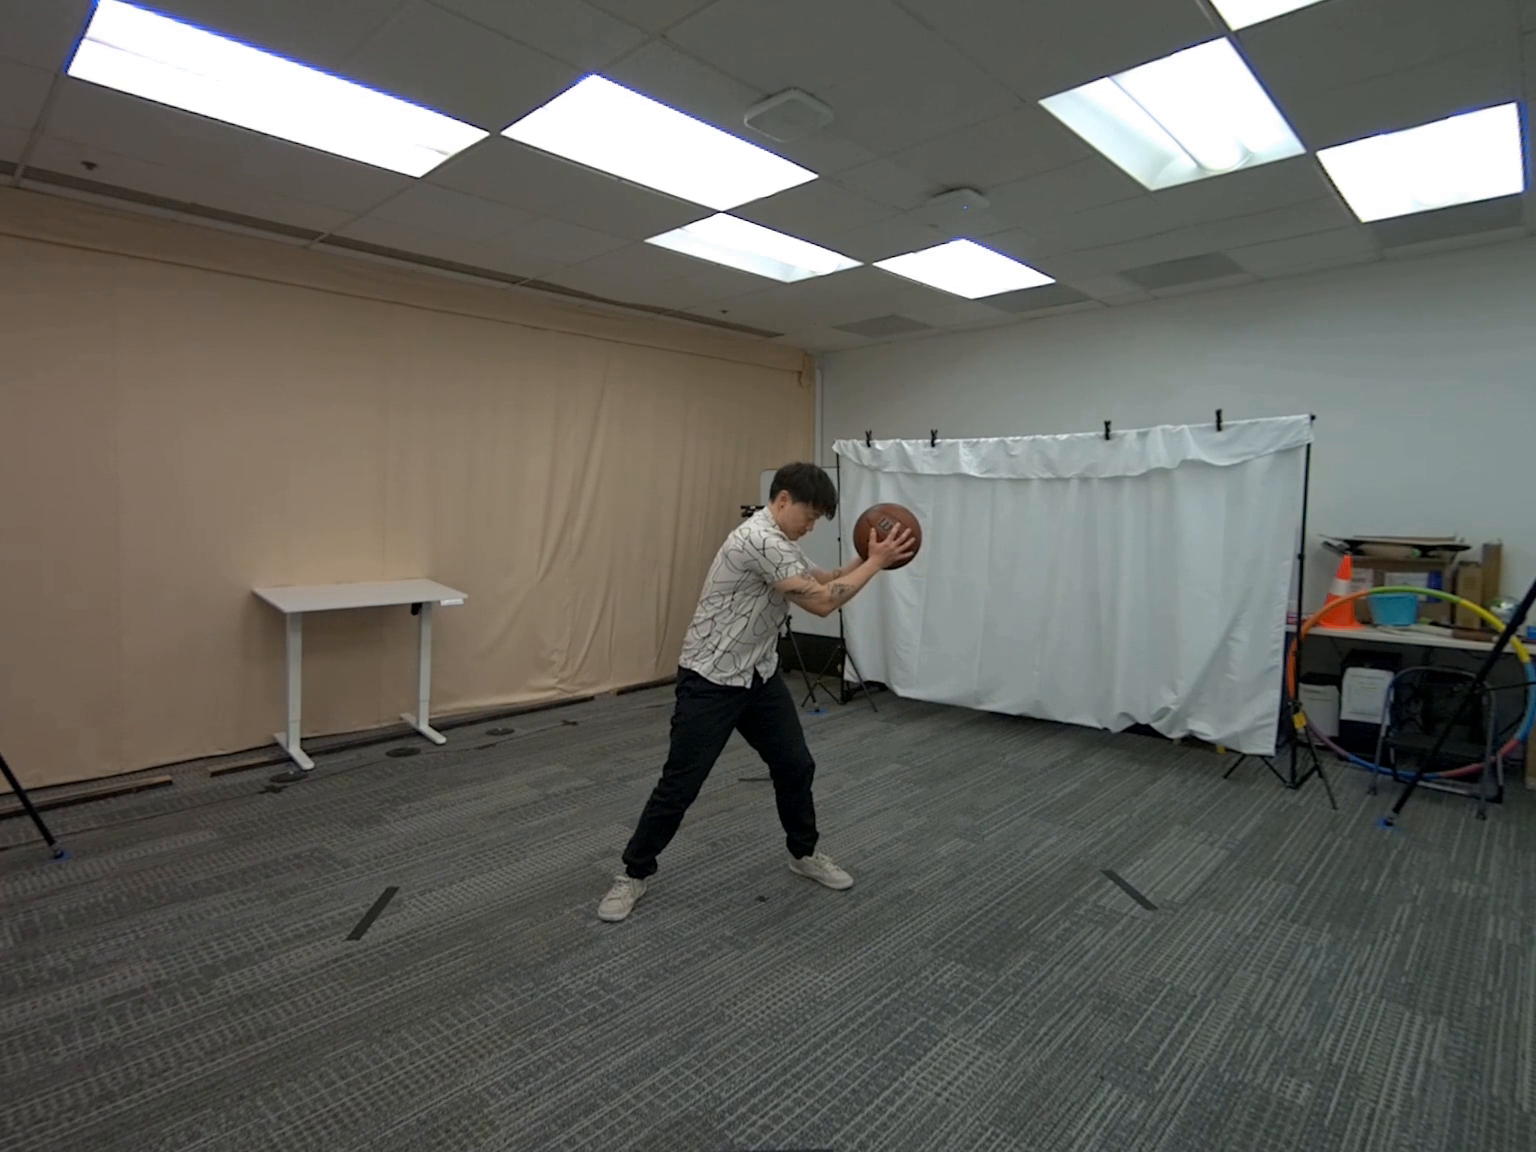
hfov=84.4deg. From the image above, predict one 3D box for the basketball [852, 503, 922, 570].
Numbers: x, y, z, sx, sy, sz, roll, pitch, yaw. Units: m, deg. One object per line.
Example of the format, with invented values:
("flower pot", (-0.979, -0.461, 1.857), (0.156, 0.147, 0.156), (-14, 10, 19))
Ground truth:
("basketball", (0.431, -0.125, 2.961), (0.236, 0.235, 0.237), (0, 4, -2))
